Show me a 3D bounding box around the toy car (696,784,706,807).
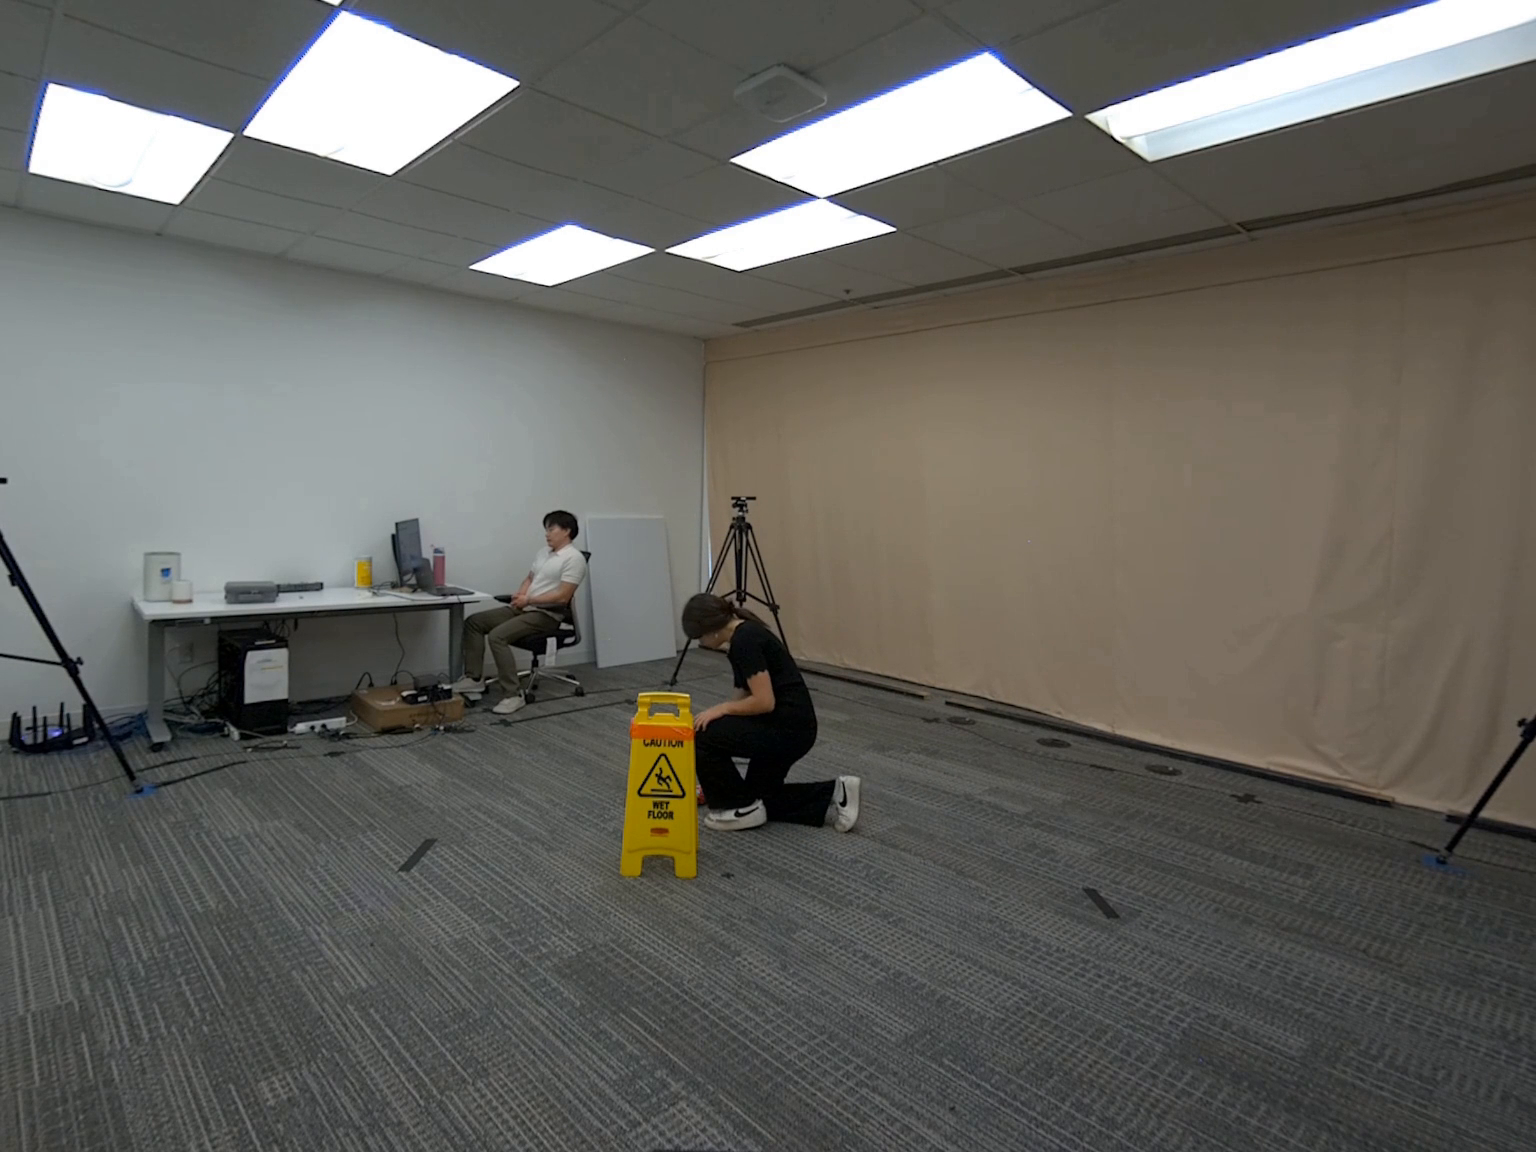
[{"bbox_3d":[-0.293,1.006,3.862,0.251,0.082,0.133,-13,10,-25],"label":"toy car"}]
